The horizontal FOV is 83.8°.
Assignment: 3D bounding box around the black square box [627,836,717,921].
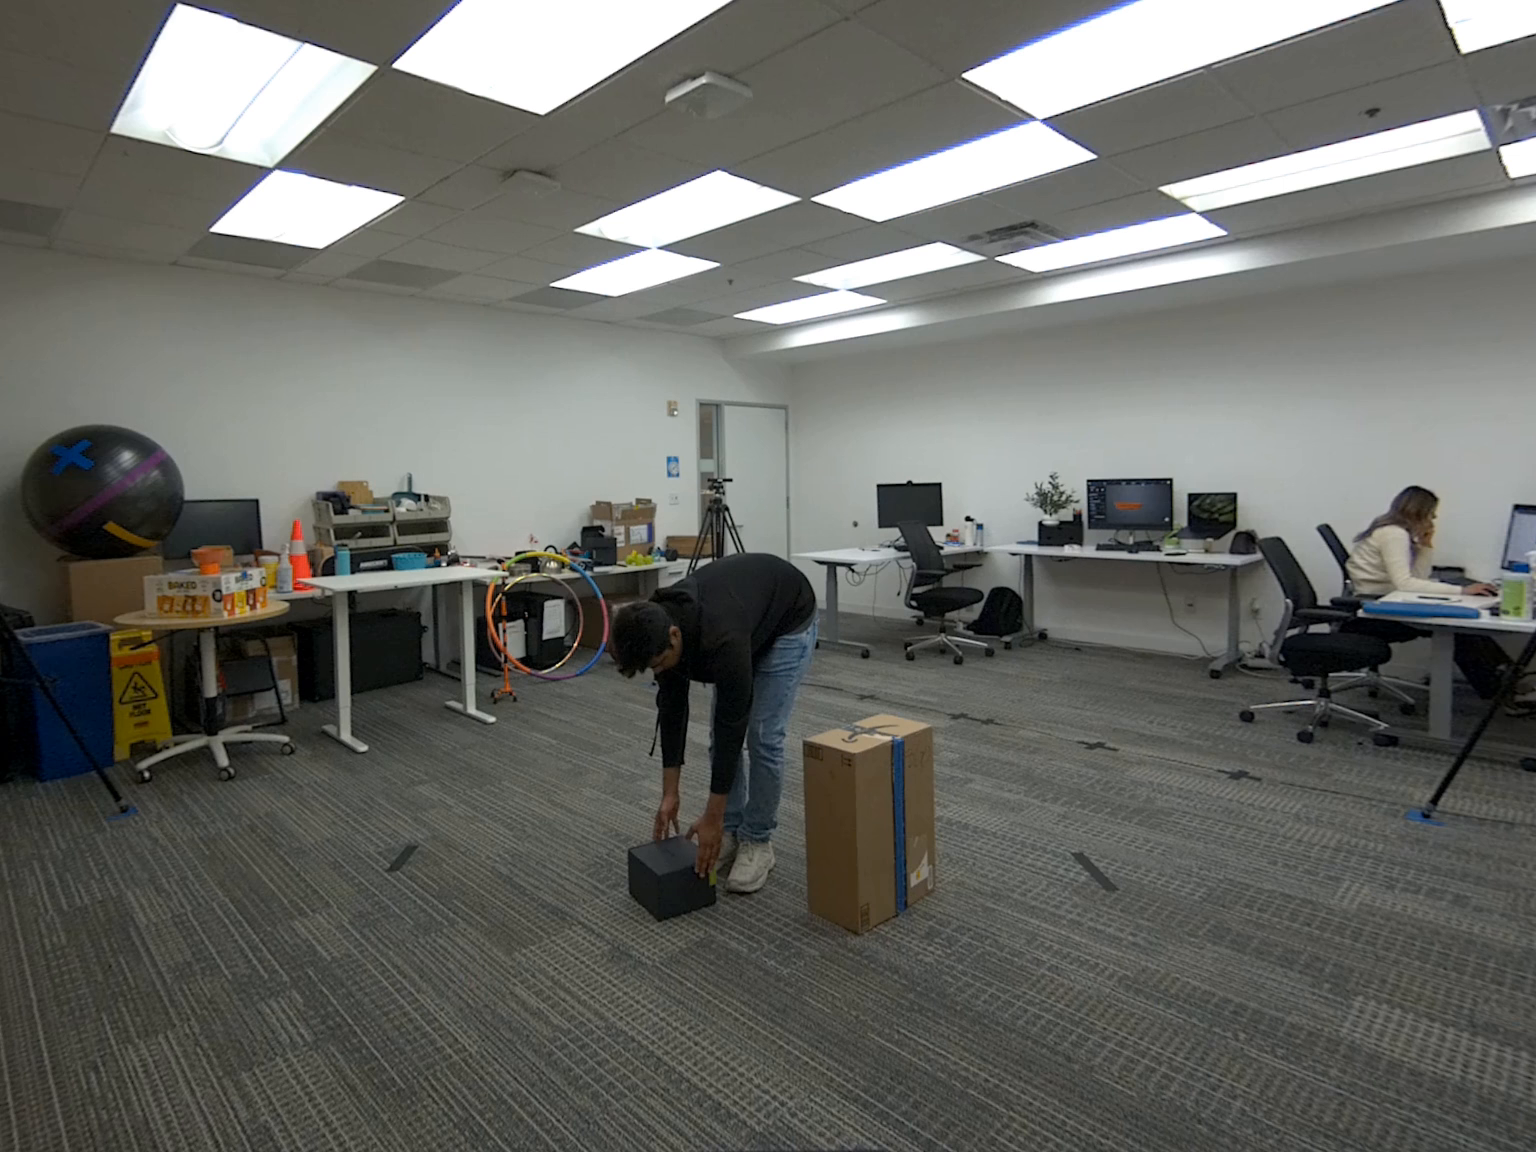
[{"bbox_3d":[-0.315,0.993,2.843,0.212,0.155,0.234,-5,7,-33],"label":"black square box"}]
